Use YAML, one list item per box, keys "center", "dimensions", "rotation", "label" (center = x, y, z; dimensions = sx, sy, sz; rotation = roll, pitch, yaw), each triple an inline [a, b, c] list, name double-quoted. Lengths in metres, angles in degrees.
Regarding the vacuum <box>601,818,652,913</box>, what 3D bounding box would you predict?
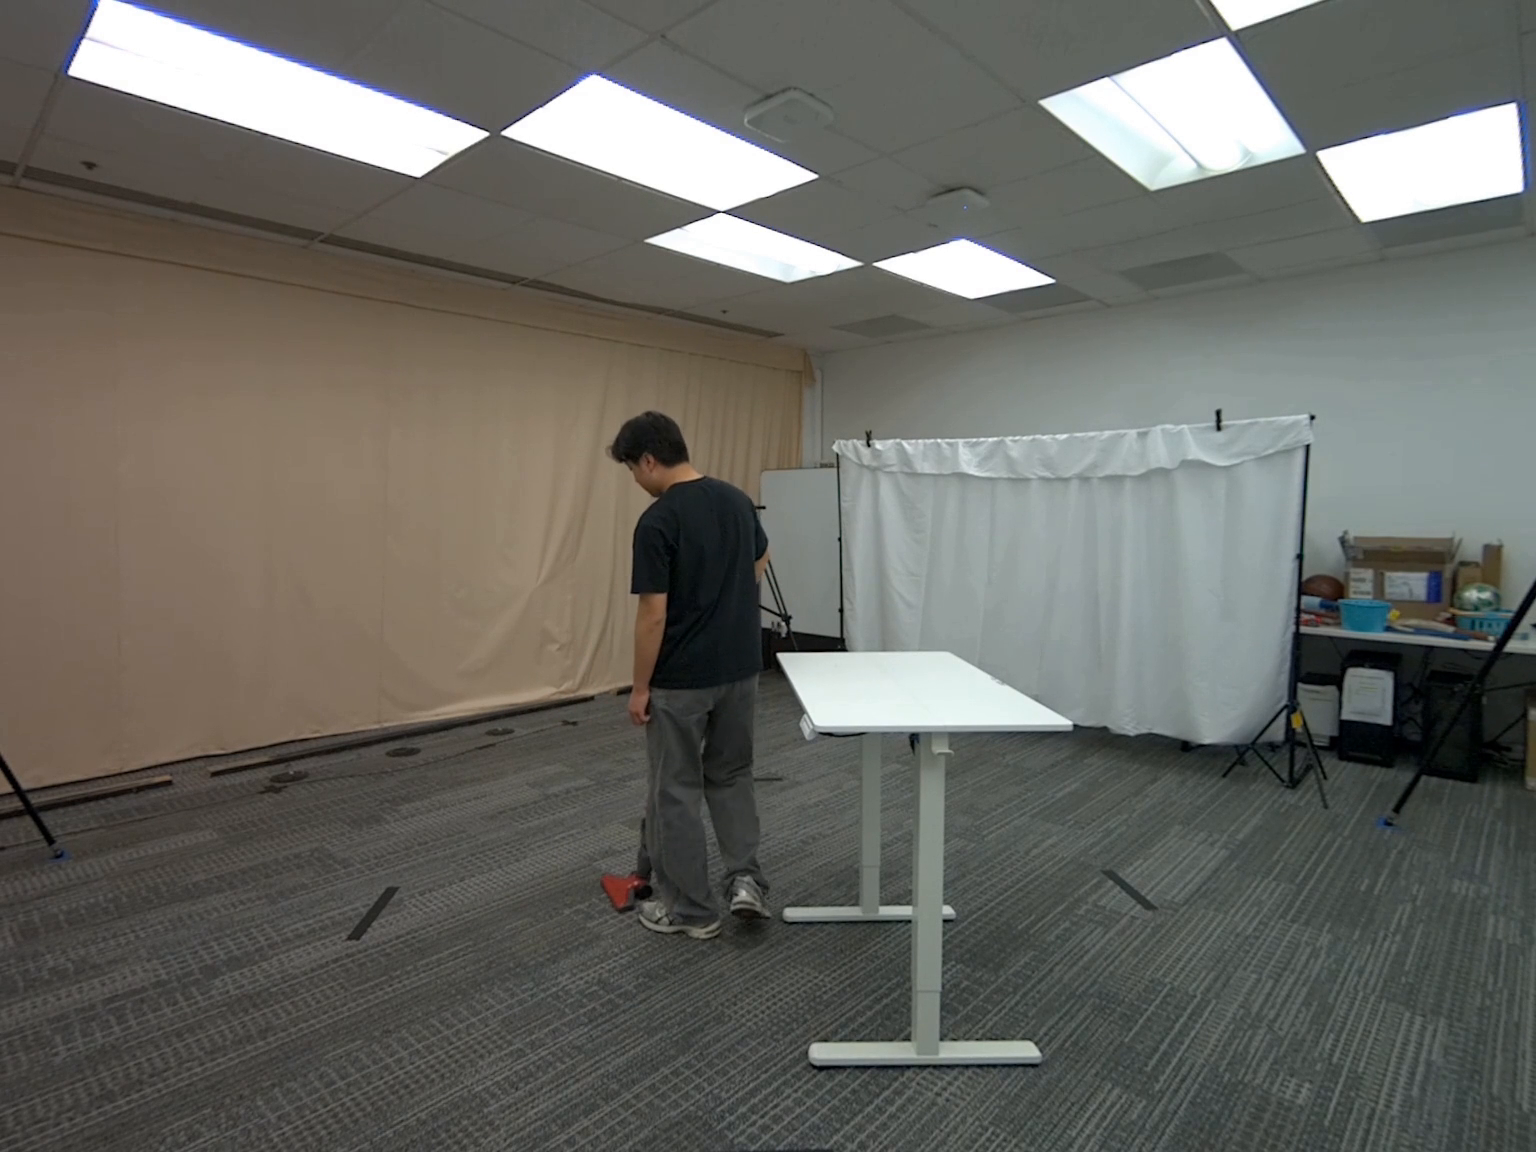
- center: [-0.319, 0.657, 3.075]
  dimensions: [0.139, 1.050, 0.260]
  rotation: [25, -6, -30]
  label: "vacuum"
